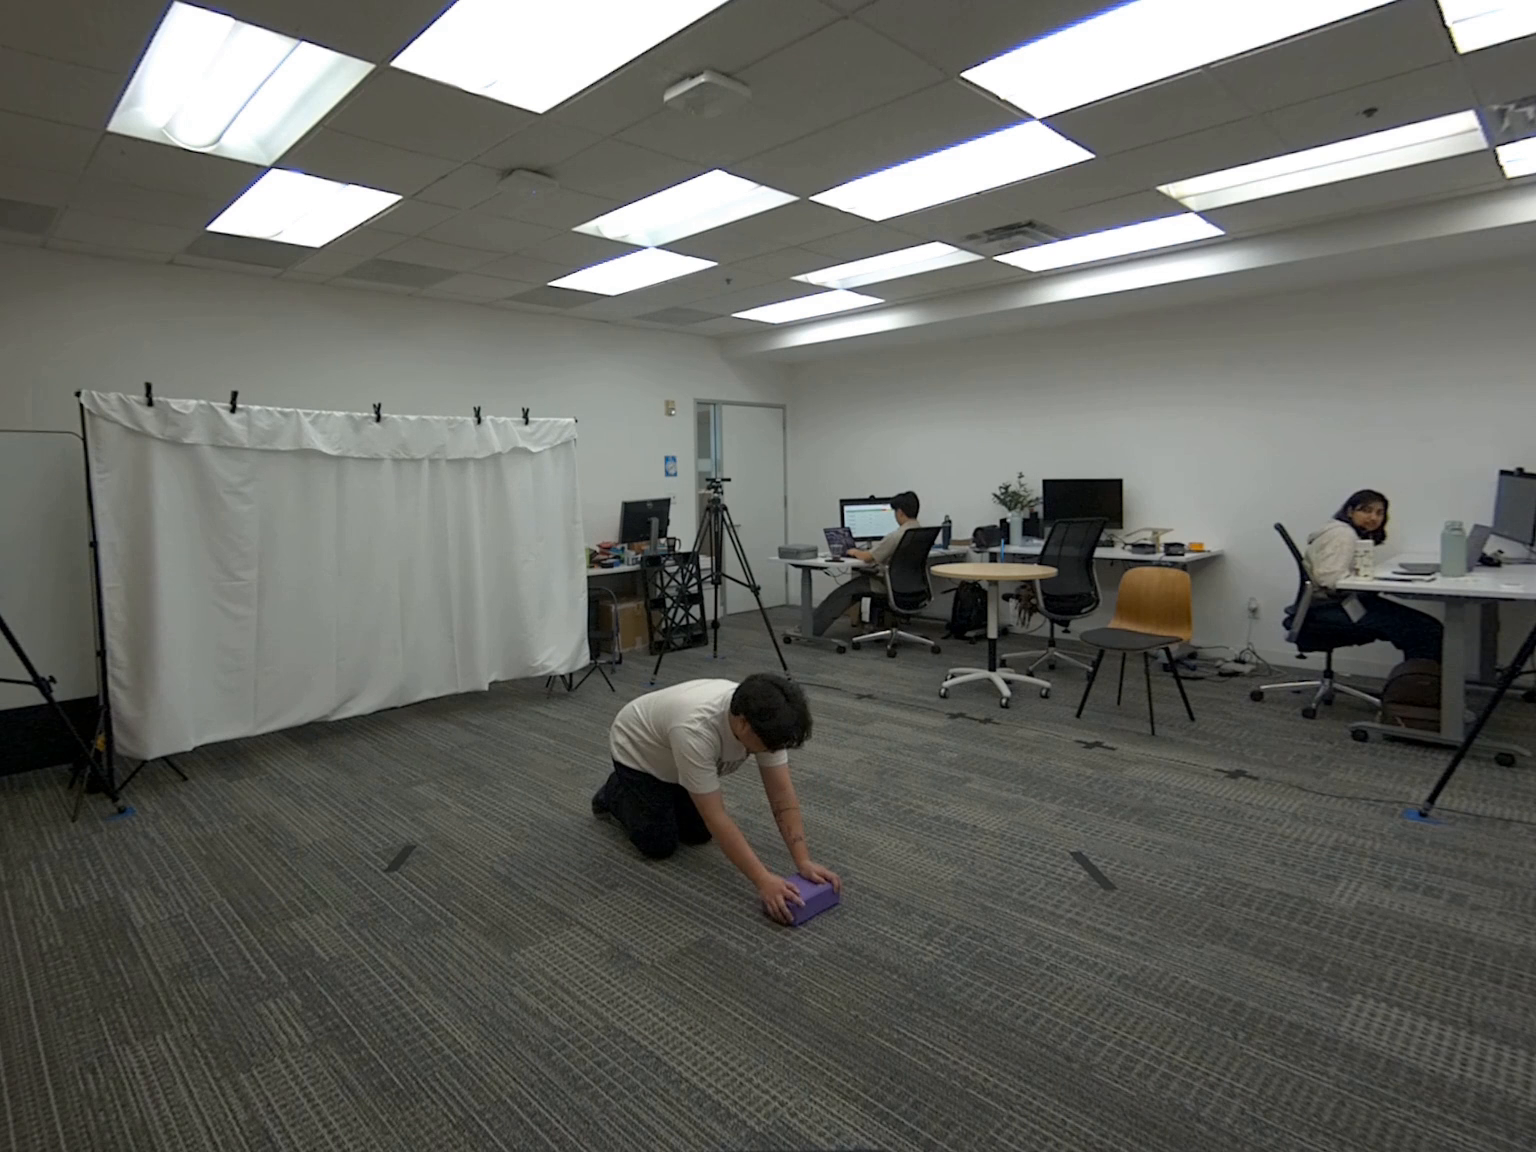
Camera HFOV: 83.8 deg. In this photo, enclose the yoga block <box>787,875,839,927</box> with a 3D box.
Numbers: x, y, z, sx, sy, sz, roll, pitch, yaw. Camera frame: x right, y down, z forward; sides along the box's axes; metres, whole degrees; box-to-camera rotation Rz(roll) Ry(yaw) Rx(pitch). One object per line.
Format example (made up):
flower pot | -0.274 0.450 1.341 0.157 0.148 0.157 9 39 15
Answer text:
yoga block | 0.110 1.041 2.778 0.153 0.076 0.223 5 8 44
